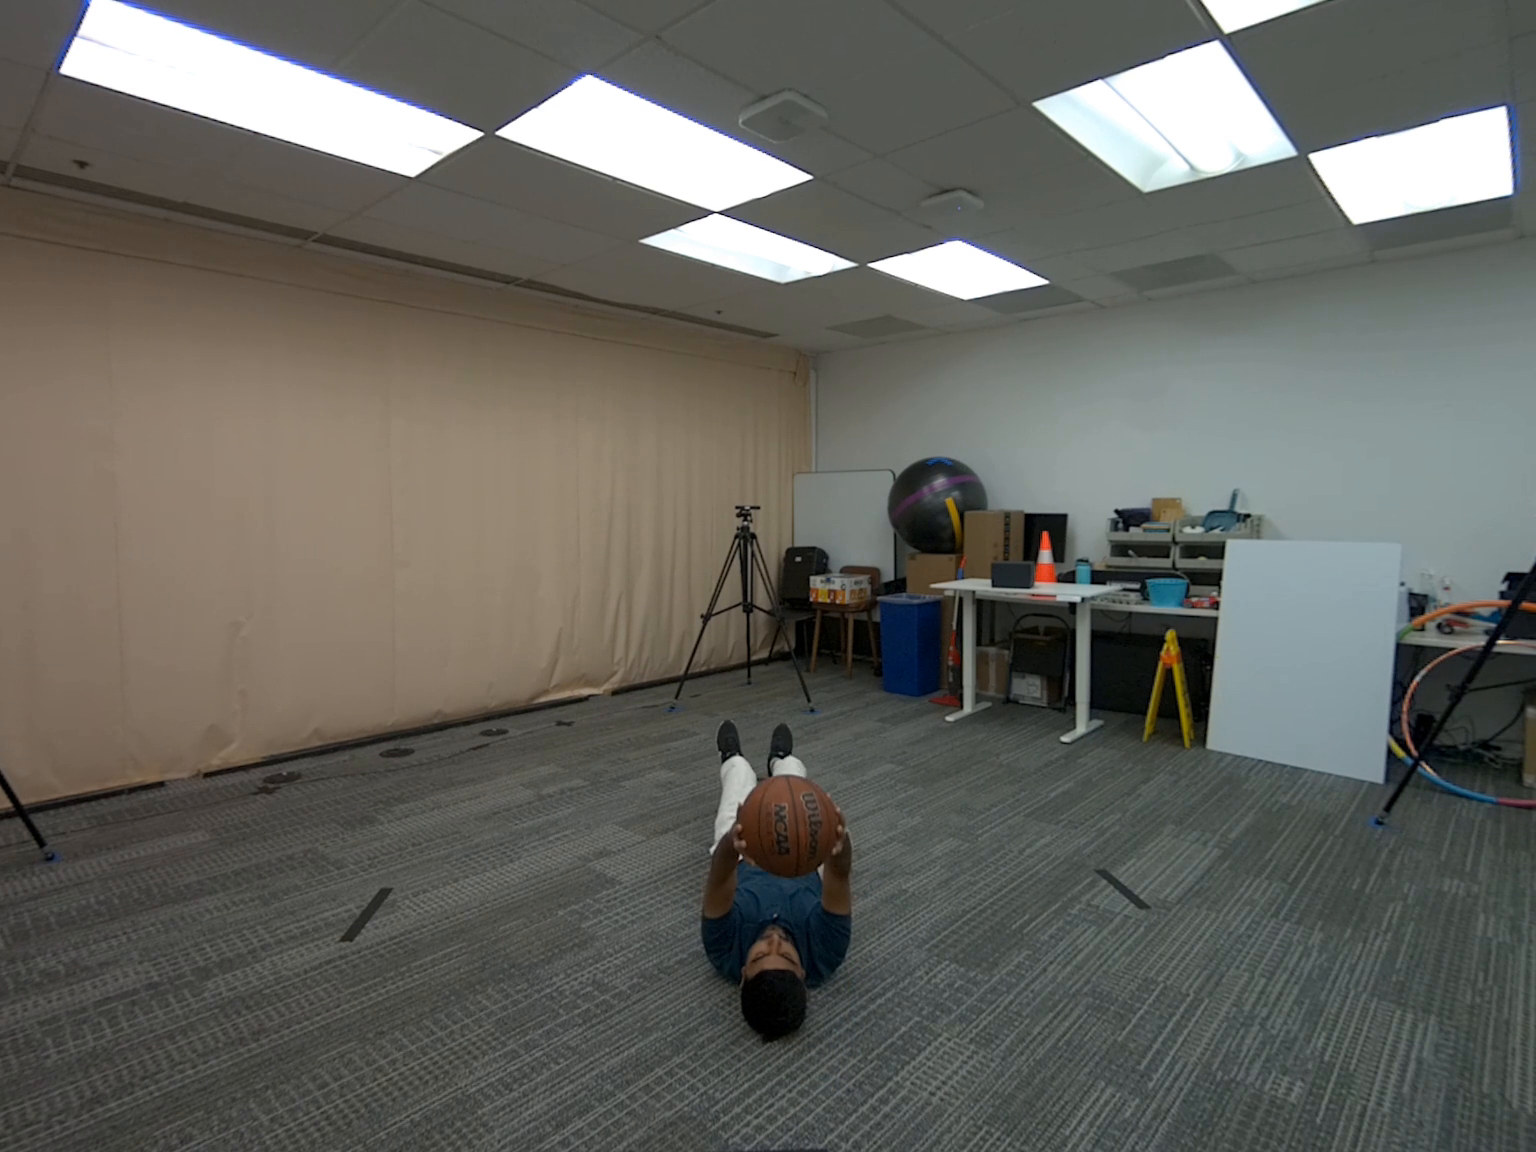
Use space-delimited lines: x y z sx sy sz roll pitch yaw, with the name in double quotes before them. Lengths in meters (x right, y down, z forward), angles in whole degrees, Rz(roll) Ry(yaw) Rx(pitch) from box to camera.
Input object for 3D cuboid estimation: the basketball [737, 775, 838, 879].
"basketball" 0.053 0.611 2.050 0.236 0.235 0.237 0 4 -2
